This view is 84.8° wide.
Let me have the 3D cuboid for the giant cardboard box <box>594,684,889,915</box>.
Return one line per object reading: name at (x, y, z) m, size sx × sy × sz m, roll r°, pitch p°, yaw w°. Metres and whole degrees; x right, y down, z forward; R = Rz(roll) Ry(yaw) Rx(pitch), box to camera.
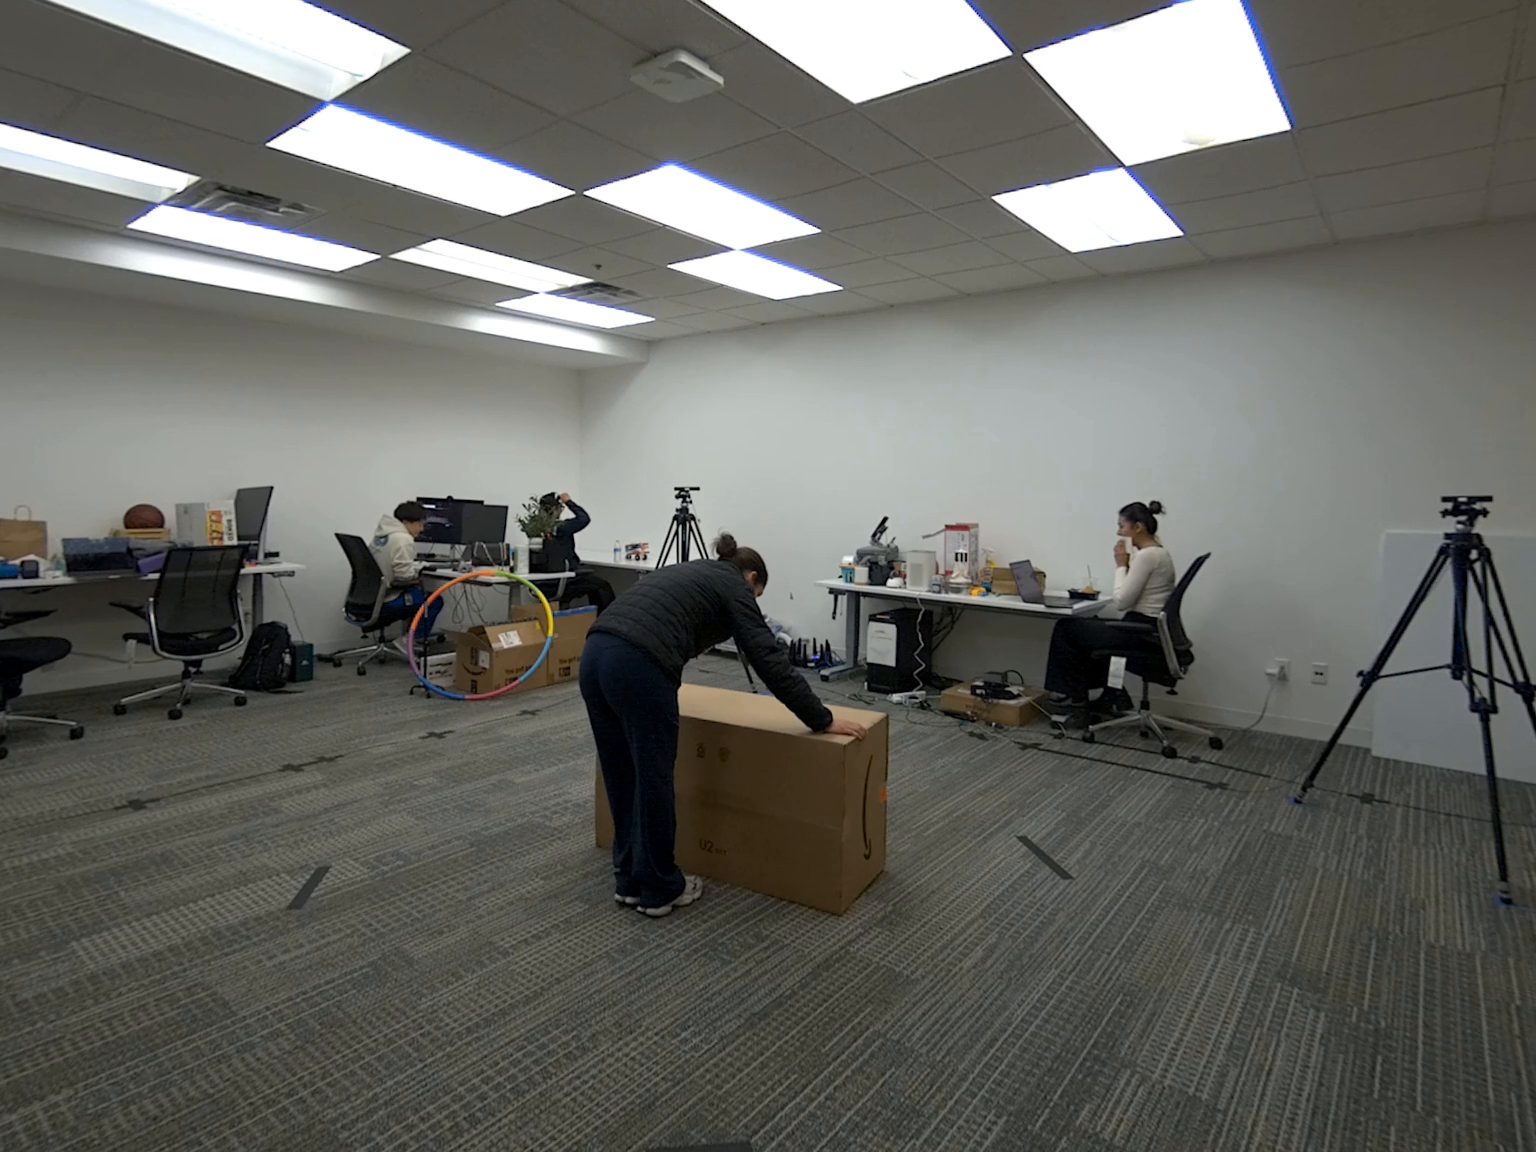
giant cardboard box at (-0.098, 0.772, 3.208) m, size 1.058 × 0.581 × 0.436 m, roll 4°, pitch 6°, yaw 31°
